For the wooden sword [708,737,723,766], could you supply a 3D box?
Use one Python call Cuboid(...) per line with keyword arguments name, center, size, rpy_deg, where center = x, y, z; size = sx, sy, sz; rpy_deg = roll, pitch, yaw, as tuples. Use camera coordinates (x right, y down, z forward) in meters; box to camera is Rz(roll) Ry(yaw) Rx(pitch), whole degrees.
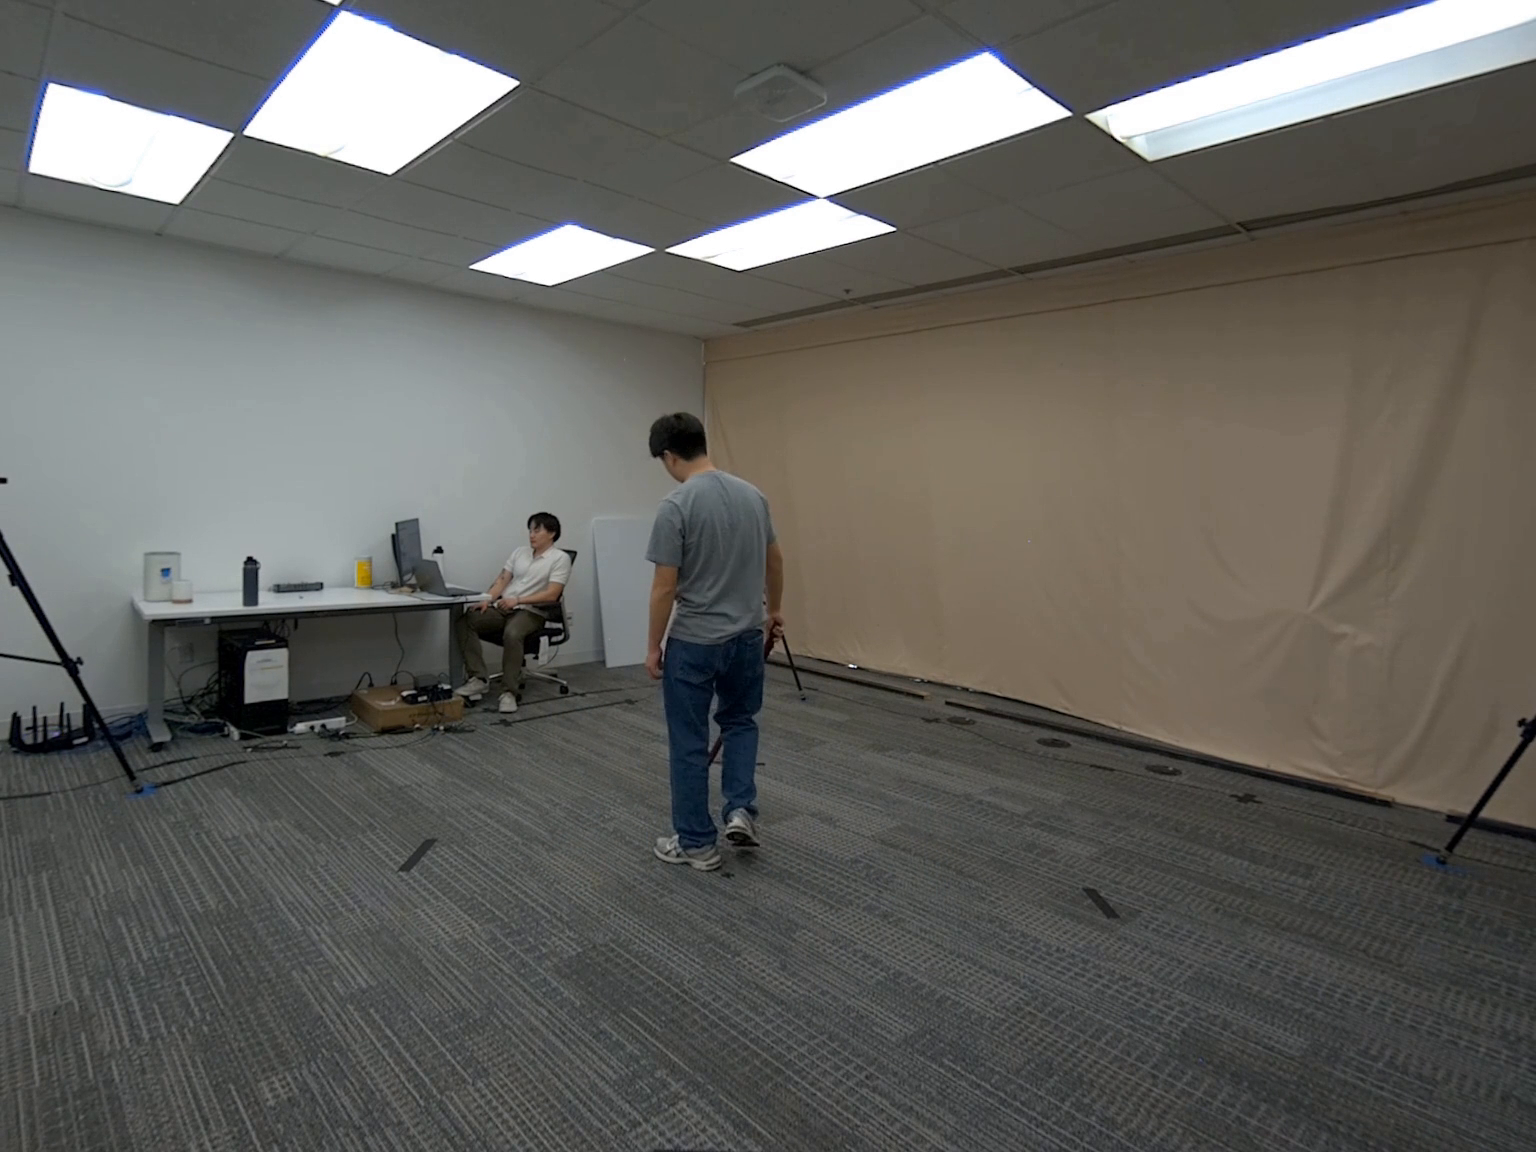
Cuboid(name="wooden sword", center=(-0.187, 0.643, 3.696), size=(0.024, 1.018, 0.052), rpy_deg=(21, 25, -15))
